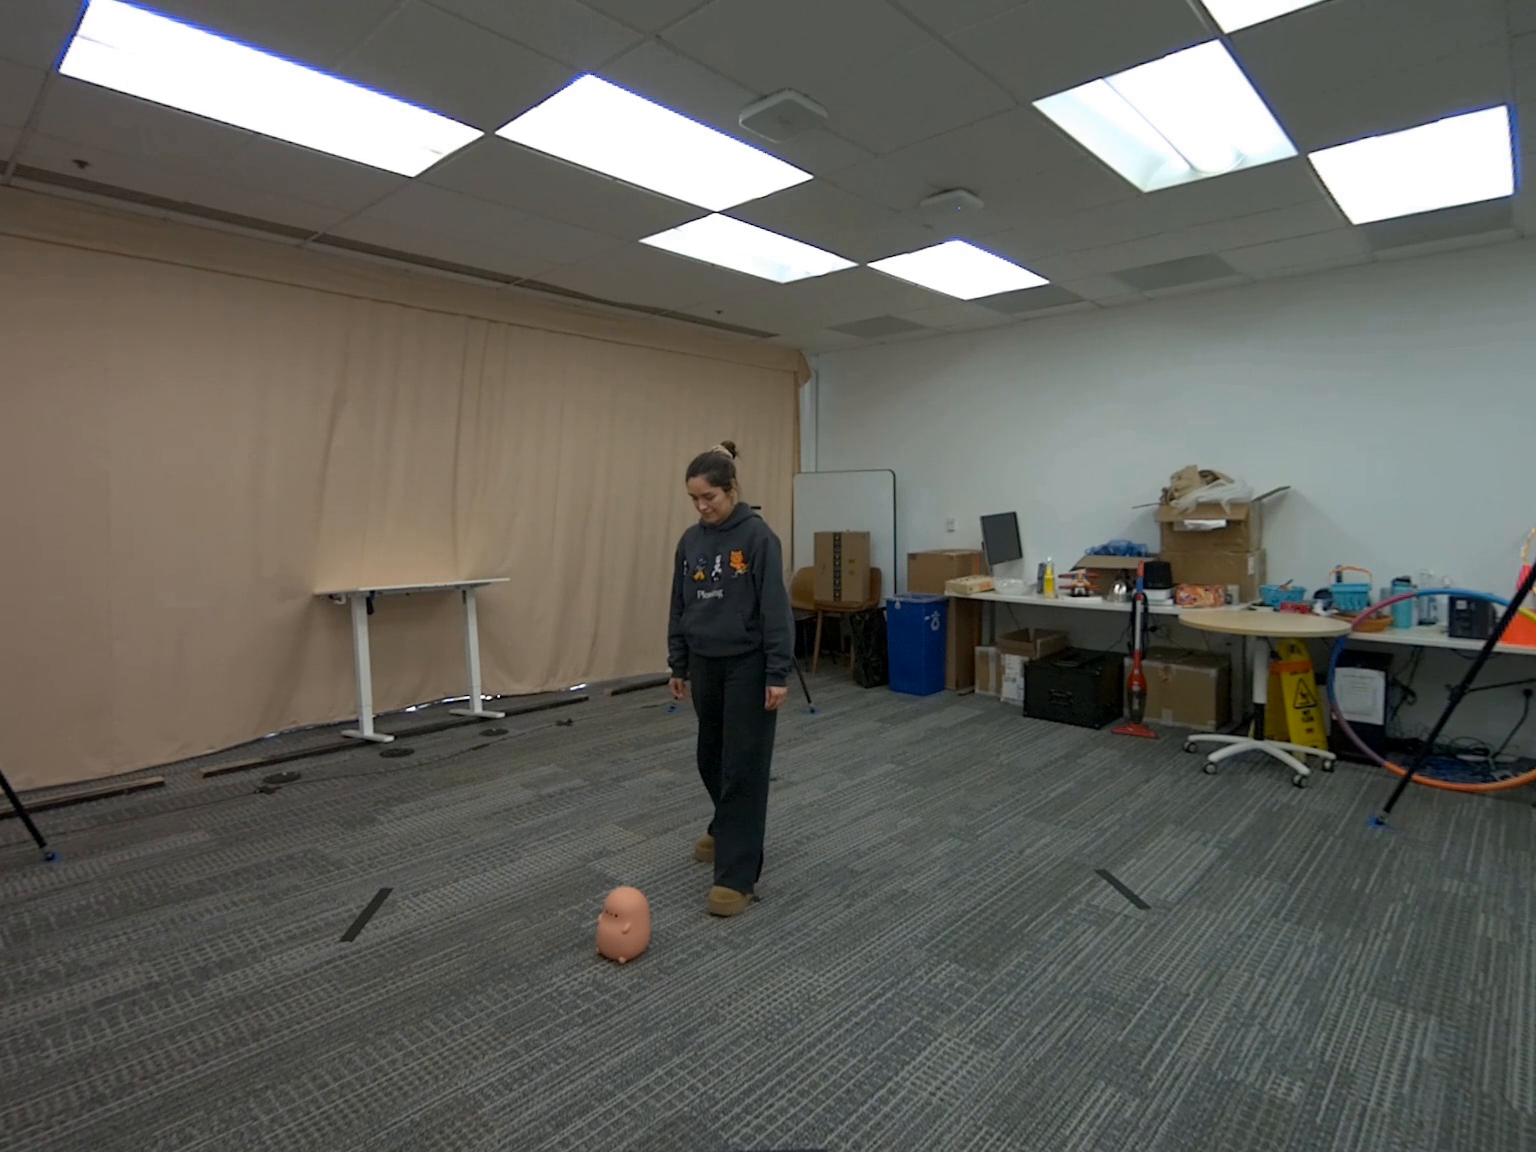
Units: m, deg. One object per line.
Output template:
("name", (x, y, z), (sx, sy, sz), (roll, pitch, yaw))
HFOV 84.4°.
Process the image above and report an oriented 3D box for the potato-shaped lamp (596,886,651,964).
("potato-shaped lamp", (-0.434, 1.082, 2.631), (0.170, 0.198, 0.166), (1, 4, 36))
